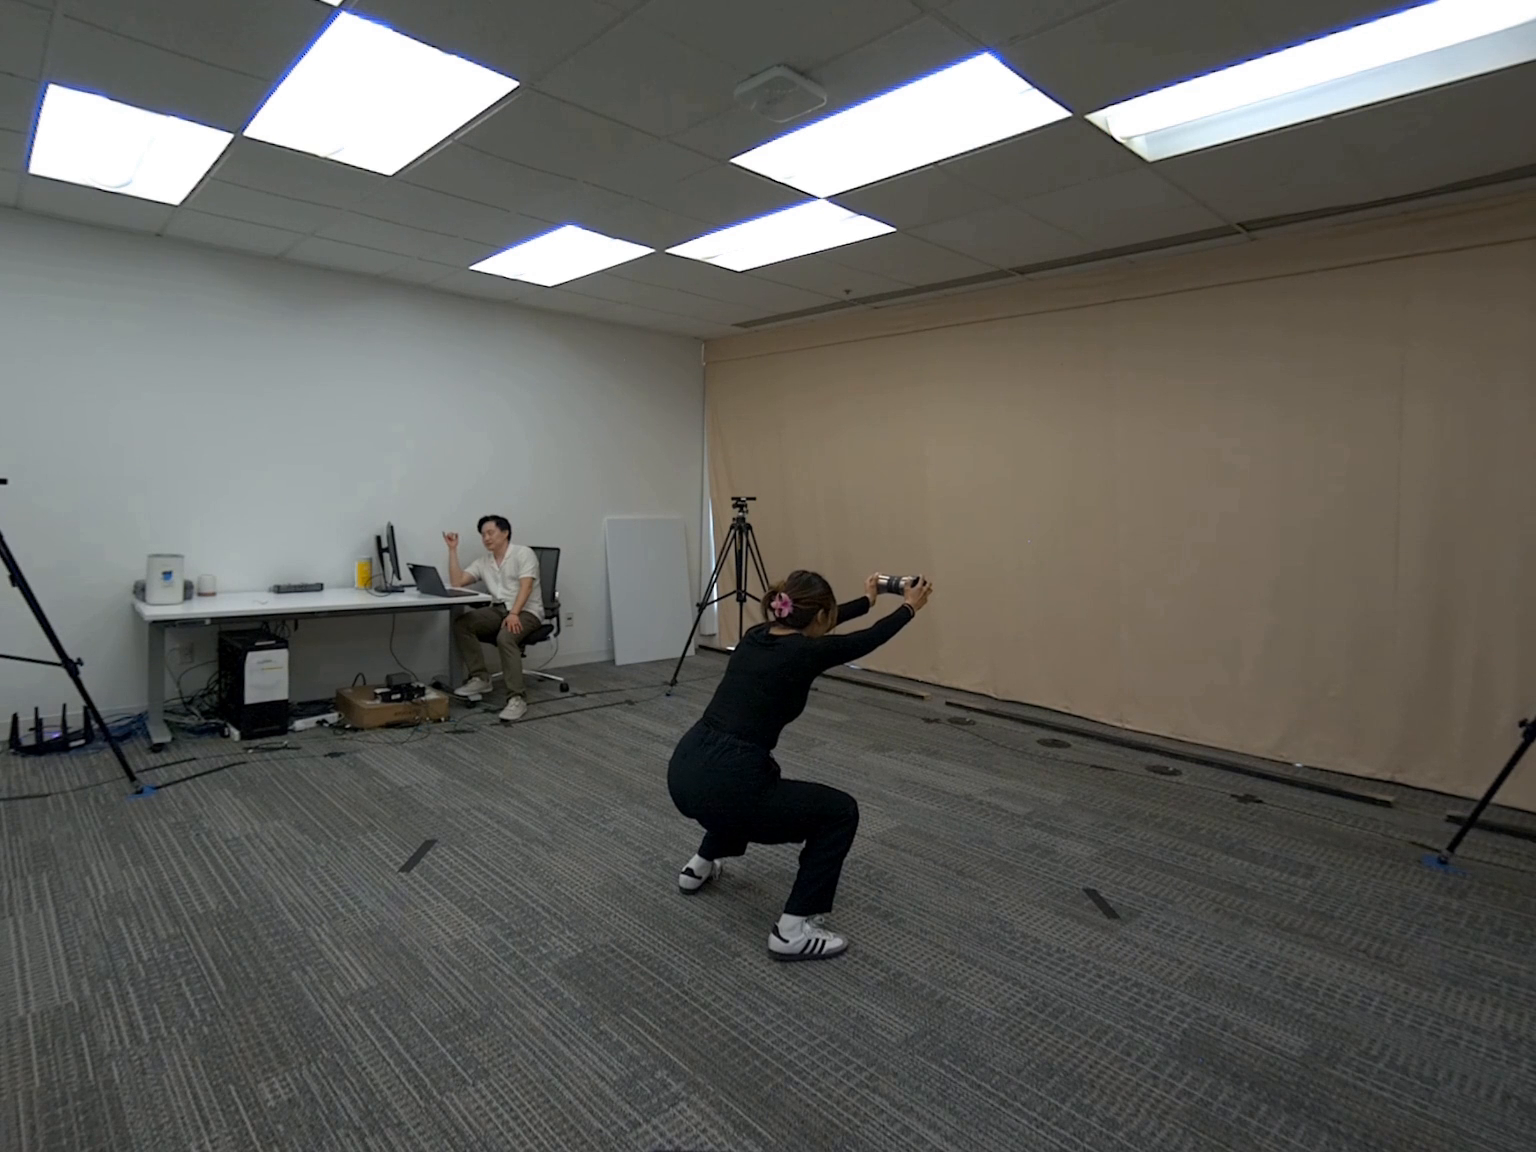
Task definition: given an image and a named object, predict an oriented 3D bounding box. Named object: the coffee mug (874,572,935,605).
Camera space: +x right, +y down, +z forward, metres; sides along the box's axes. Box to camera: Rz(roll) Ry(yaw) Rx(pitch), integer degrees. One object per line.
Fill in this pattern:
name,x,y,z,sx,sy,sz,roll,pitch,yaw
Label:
coffee mug,0.514,0.045,3.244,0.119,0.088,0.208,6,4,-33
